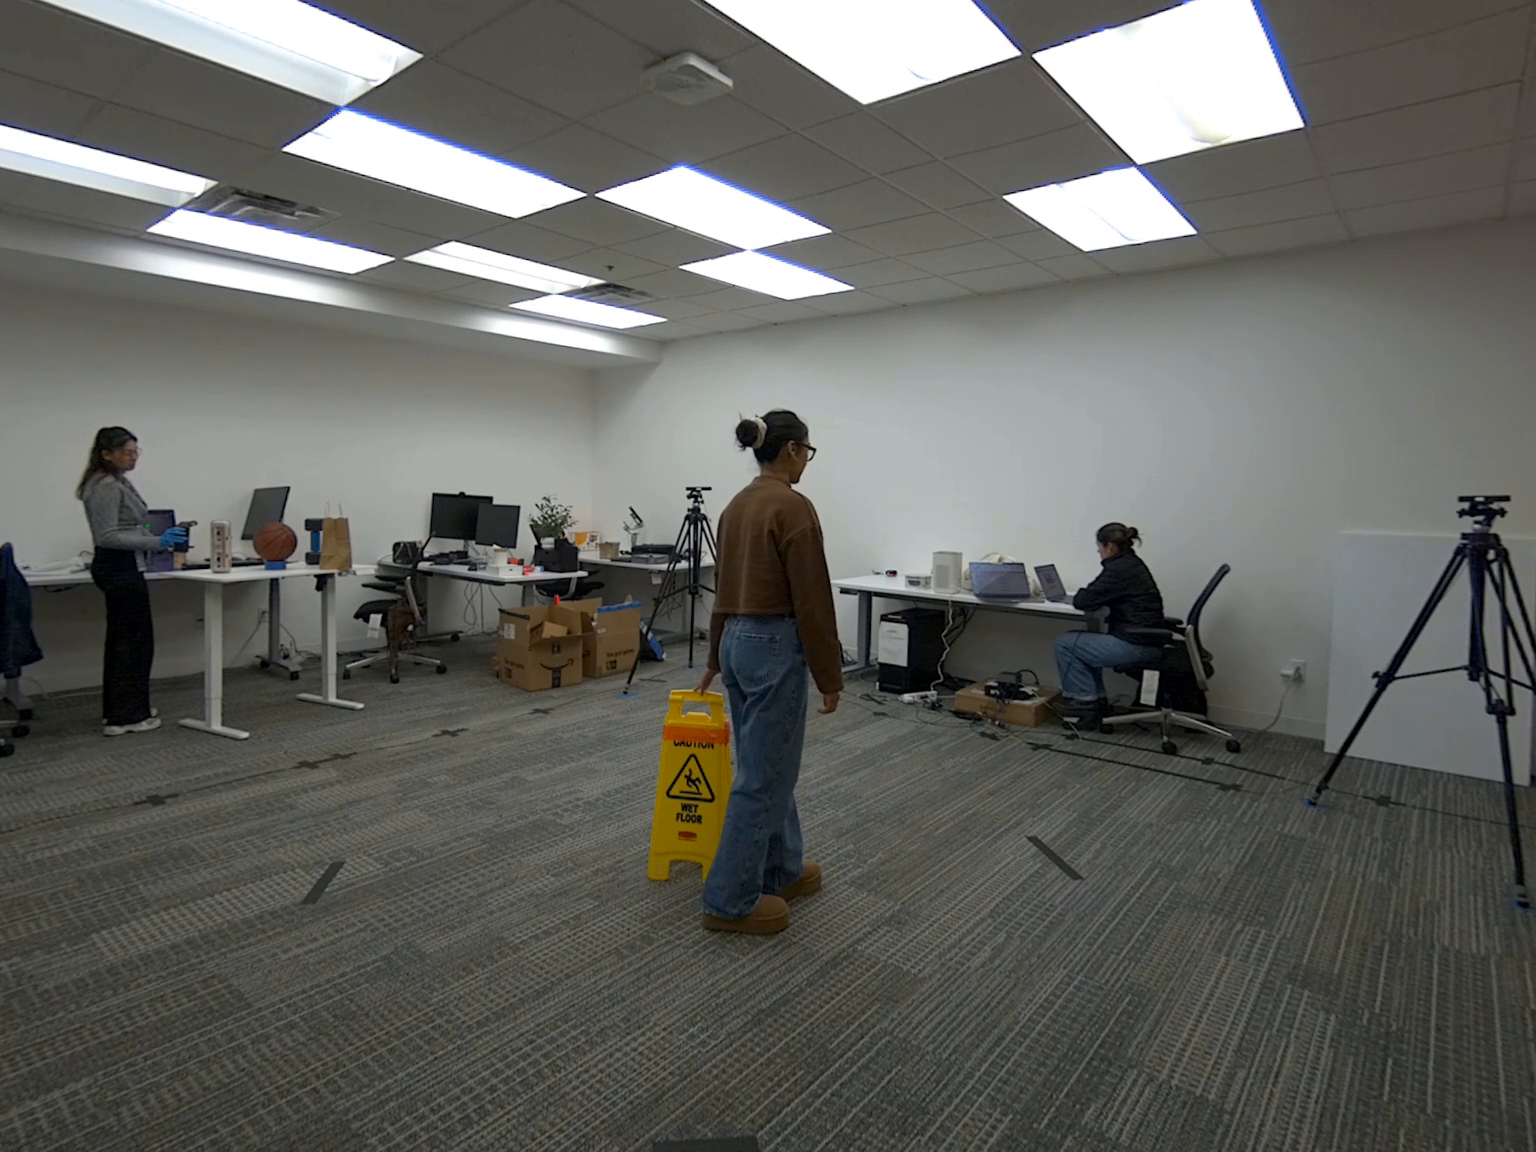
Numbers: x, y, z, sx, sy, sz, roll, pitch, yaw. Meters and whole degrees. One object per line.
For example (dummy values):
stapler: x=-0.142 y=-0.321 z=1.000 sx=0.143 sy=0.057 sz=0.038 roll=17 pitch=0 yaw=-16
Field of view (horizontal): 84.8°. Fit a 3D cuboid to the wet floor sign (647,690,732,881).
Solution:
wet floor sign: x=-0.277 y=0.740 z=3.101 sx=0.286 sy=0.644 sz=0.287 roll=0 pitch=4 yaw=10
